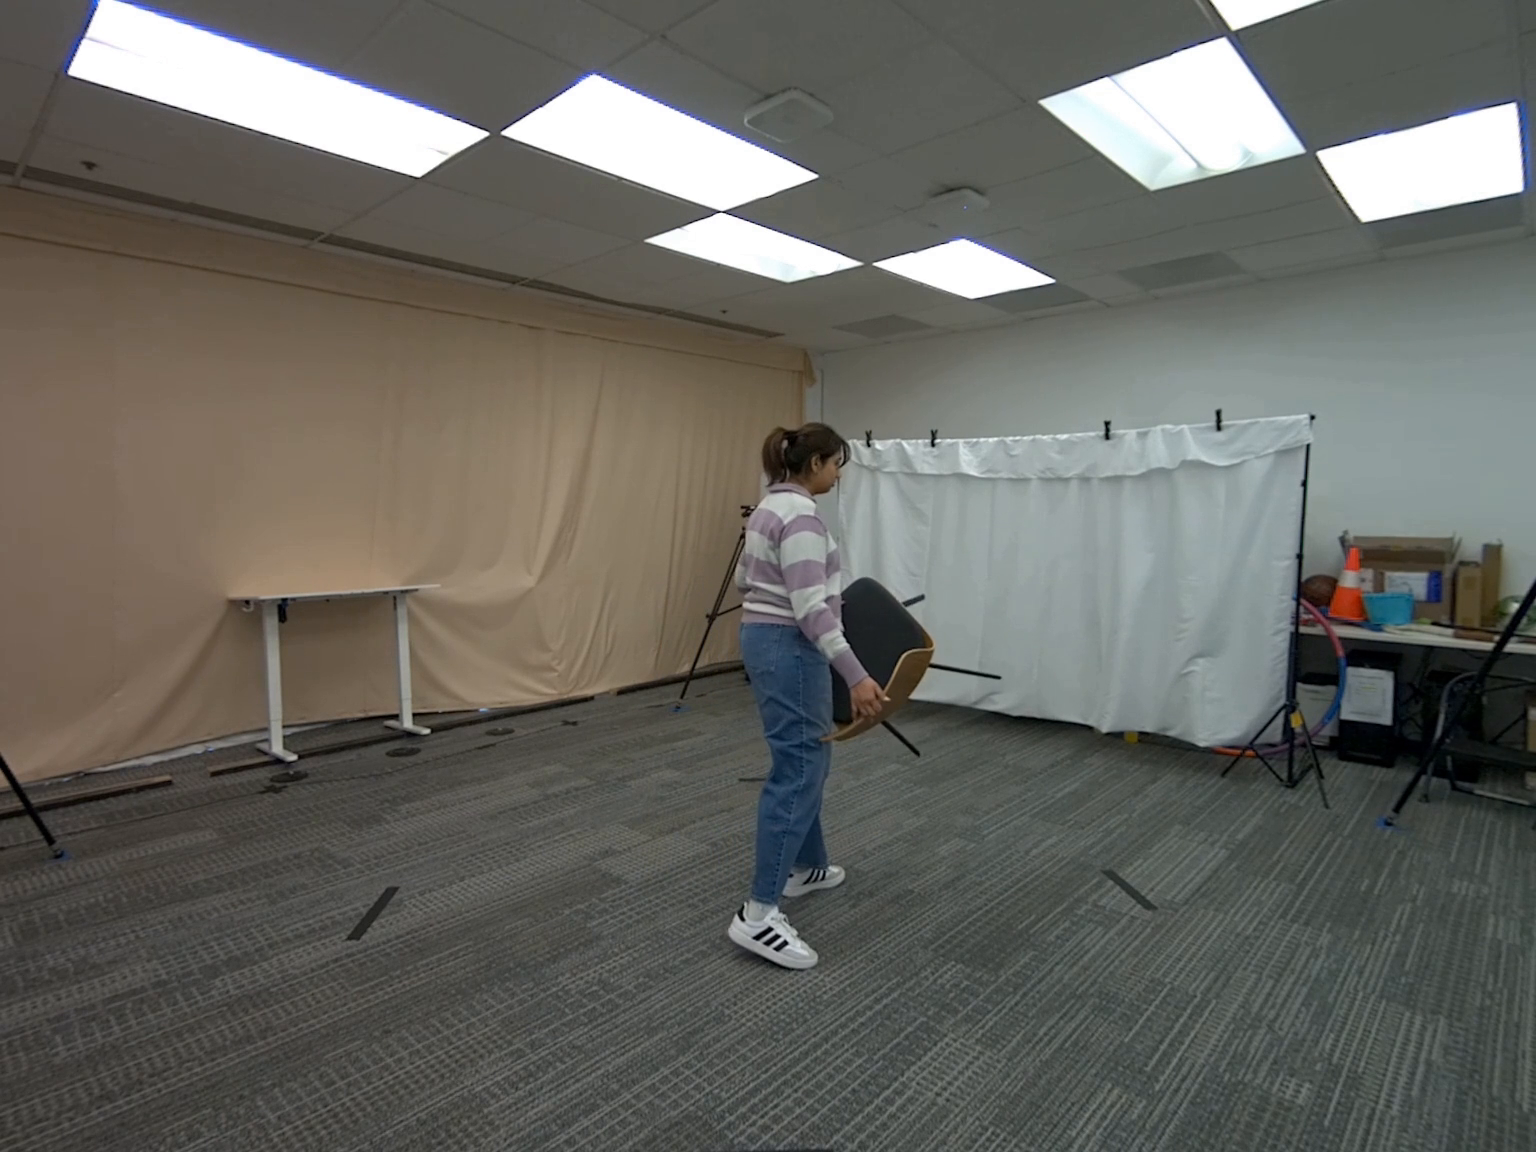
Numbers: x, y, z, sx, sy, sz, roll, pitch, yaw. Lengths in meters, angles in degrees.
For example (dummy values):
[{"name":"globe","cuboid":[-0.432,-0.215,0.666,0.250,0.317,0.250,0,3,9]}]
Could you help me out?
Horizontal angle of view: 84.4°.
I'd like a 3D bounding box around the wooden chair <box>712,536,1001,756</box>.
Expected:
[{"name":"wooden chair","cuboid":[0.370,0.311,2.998,0.539,0.480,0.848,51,19,29]}]
